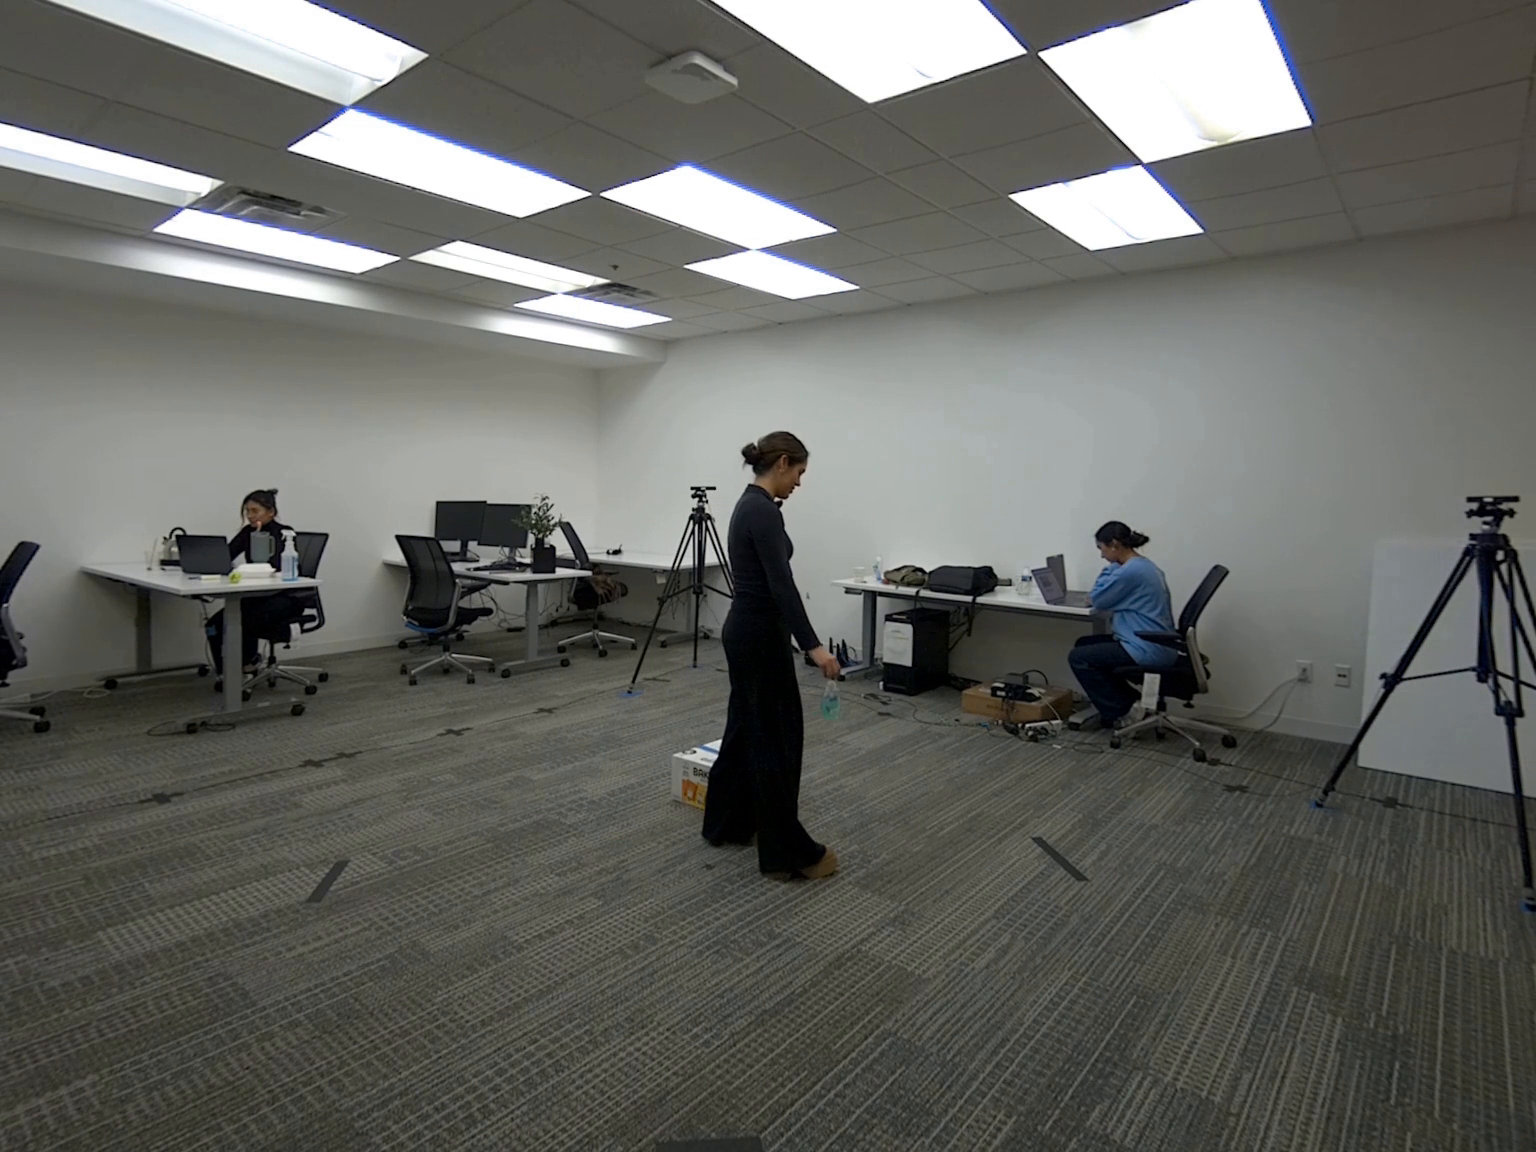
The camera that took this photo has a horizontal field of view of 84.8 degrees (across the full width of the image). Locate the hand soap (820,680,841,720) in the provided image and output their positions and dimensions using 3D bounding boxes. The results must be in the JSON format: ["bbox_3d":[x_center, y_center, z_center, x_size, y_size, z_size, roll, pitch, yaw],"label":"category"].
[{"bbox_3d":[0.208,0.427,2.984,0.082,0.168,0.045,-5,3,-33],"label":"hand soap"}]
